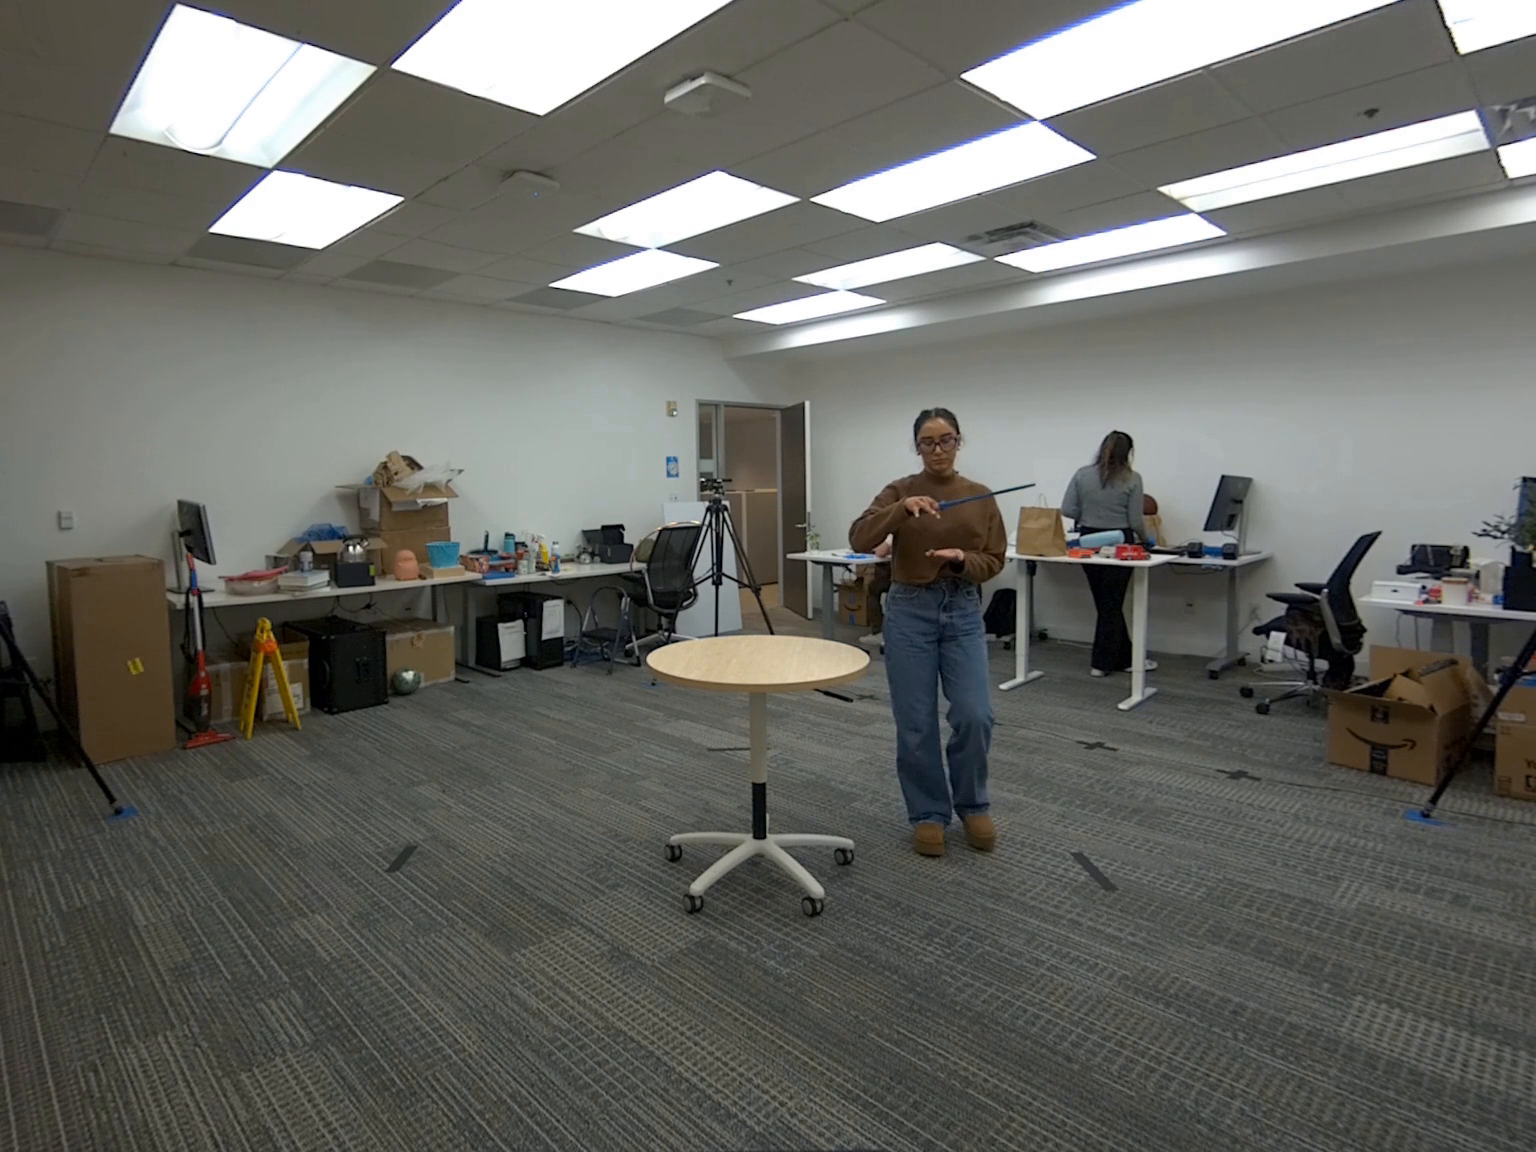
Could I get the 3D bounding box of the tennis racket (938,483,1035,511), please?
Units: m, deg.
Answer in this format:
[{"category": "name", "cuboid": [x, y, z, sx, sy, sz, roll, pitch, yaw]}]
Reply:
[{"category": "tennis racket", "cuboid": [0.699, -0.258, 2.868, 0.209, 0.032, 0.442, -14, 1, -40]}]
